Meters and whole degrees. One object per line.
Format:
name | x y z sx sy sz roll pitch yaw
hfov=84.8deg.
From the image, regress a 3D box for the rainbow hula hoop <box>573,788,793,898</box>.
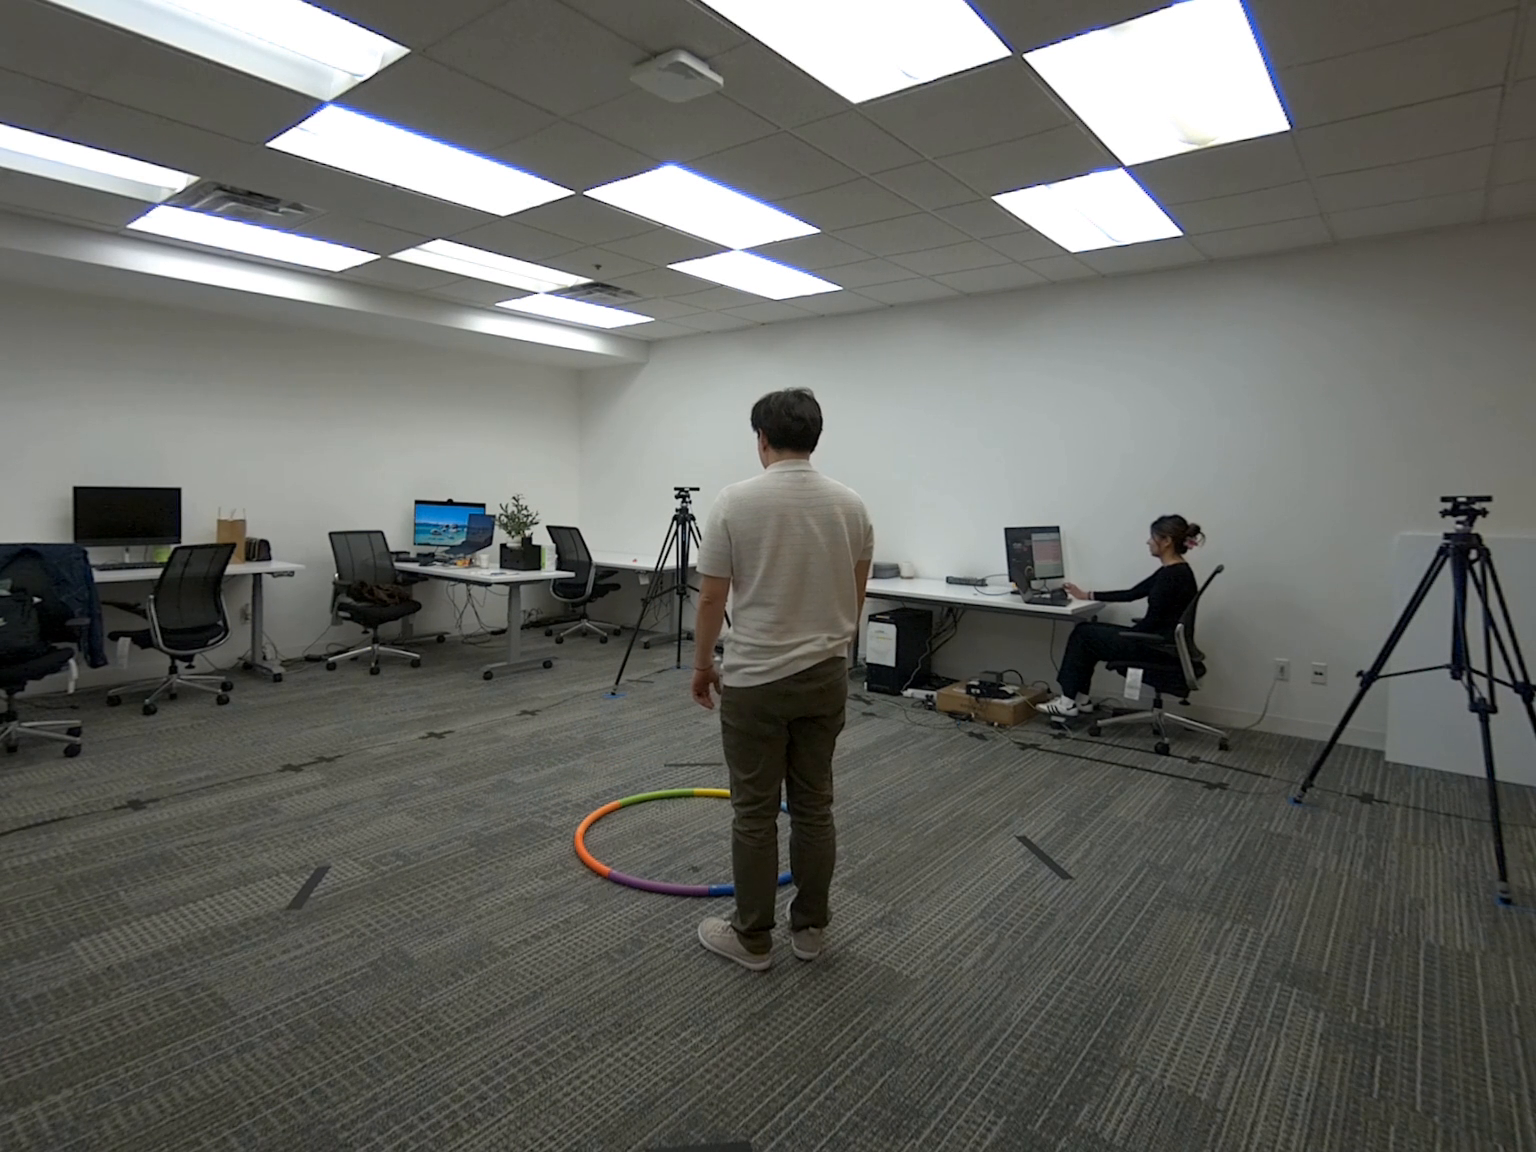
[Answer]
rainbow hula hoop | -0.276 1.008 3.366 0.978 0.035 0.984 1 6 -2
